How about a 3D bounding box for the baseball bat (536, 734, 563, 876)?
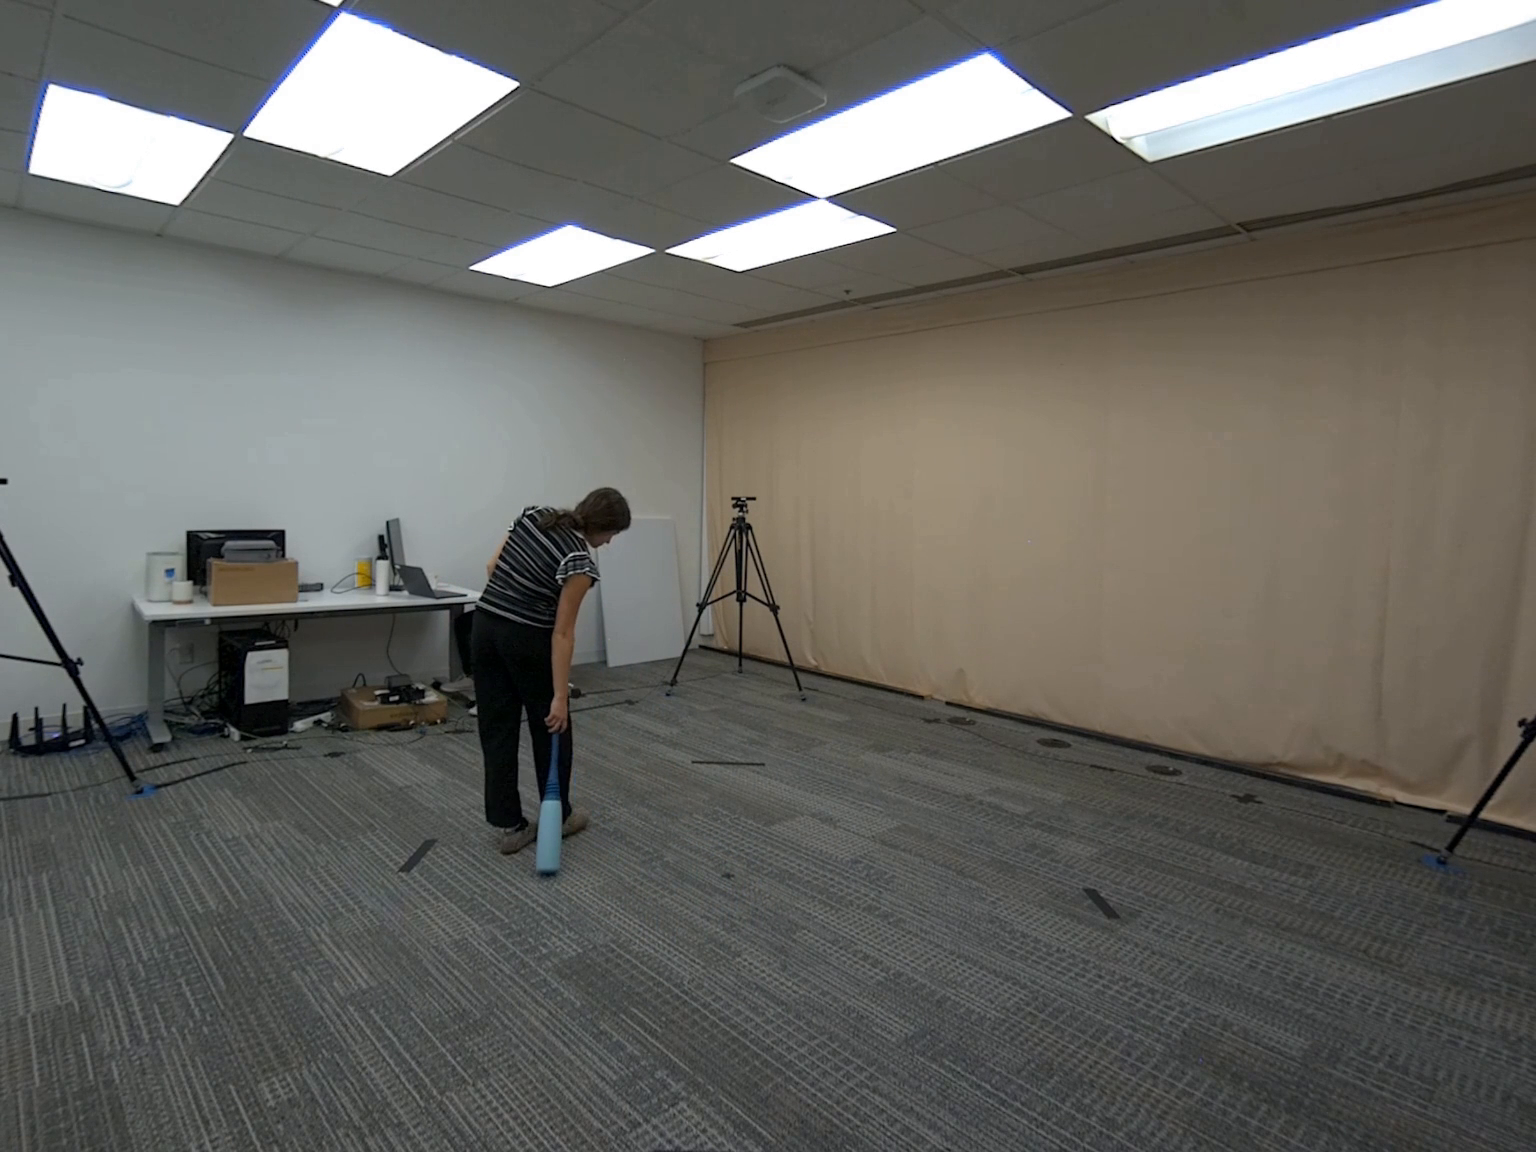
[{"bbox_3d":[-0.825,0.836,3.178,0.089,0.552,0.087,-2,-24,-2],"label":"baseball bat"}]
